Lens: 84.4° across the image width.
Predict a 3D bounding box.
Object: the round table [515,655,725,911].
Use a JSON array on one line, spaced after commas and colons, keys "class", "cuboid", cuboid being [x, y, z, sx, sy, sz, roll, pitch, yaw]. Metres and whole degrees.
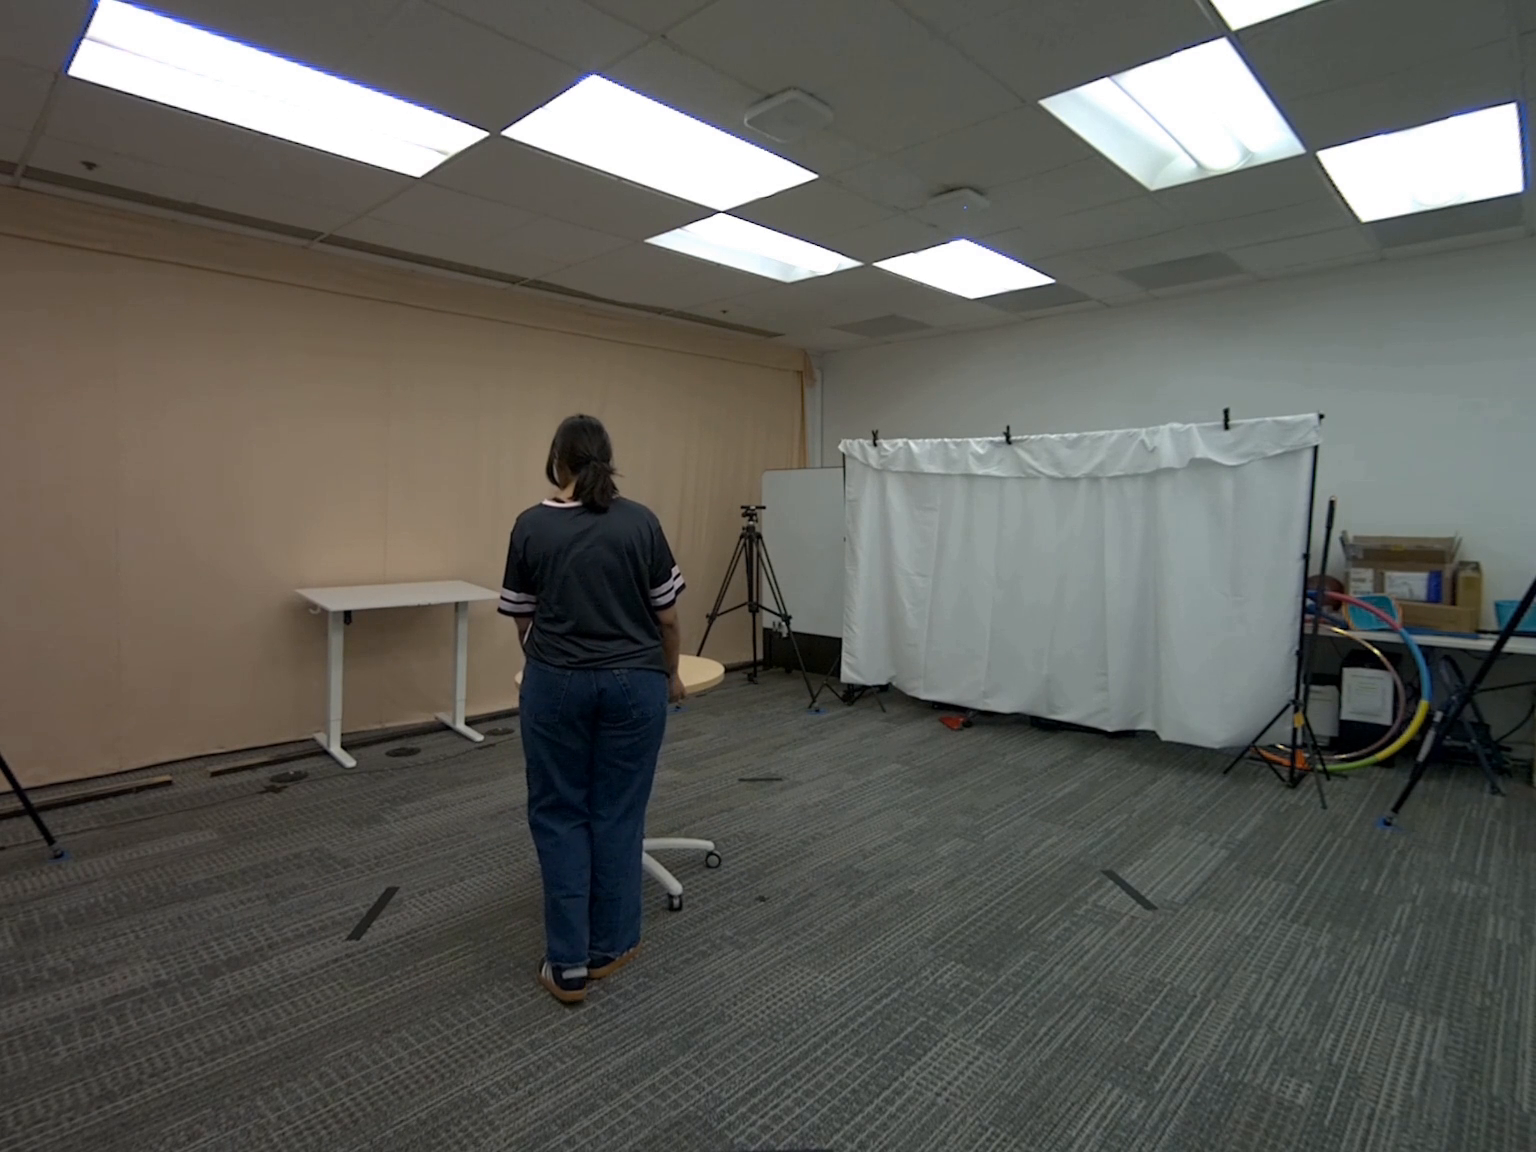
[{"class": "round table", "cuboid": [-0.529, 0.747, 3.127, 0.763, 0.792, 0.766, -1, 4, -2]}]
